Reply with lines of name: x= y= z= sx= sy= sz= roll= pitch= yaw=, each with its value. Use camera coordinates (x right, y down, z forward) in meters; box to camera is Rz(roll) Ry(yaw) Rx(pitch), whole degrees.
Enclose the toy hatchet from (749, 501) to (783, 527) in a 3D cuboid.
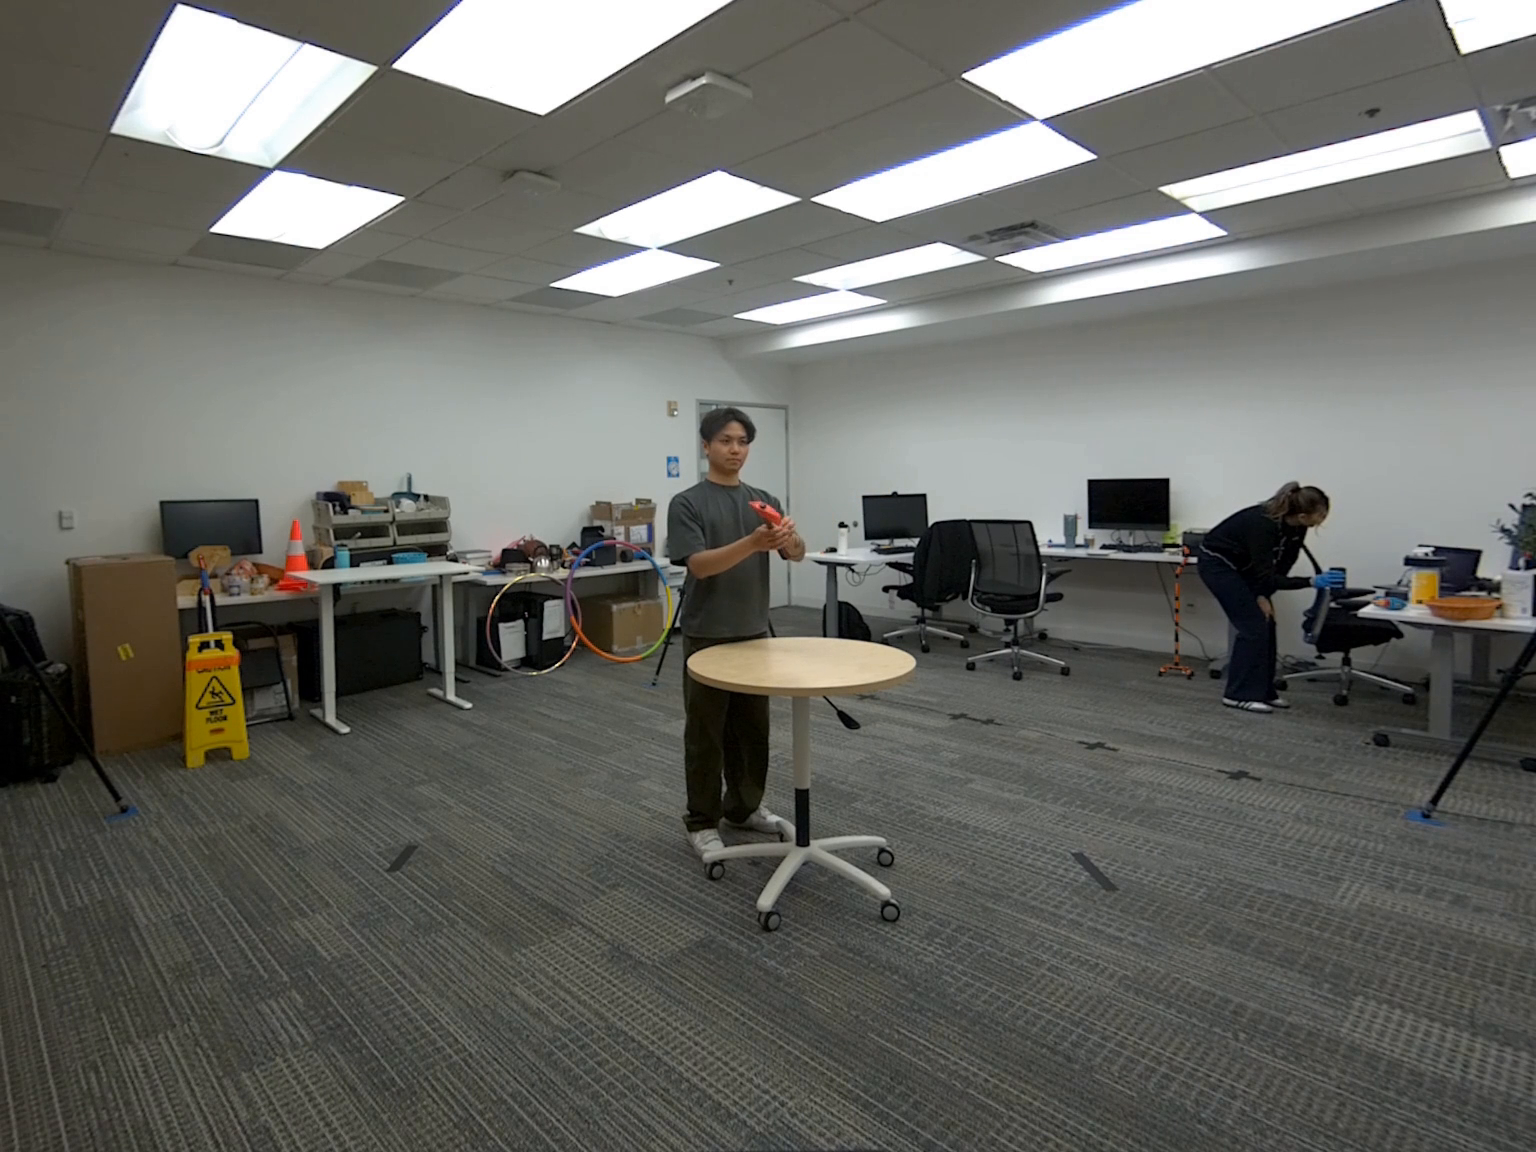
toy hatchet: x=0.030 y=-0.156 z=2.883 sx=0.135 sy=0.260 sz=0.029 roll=15 pitch=58 yaw=47
